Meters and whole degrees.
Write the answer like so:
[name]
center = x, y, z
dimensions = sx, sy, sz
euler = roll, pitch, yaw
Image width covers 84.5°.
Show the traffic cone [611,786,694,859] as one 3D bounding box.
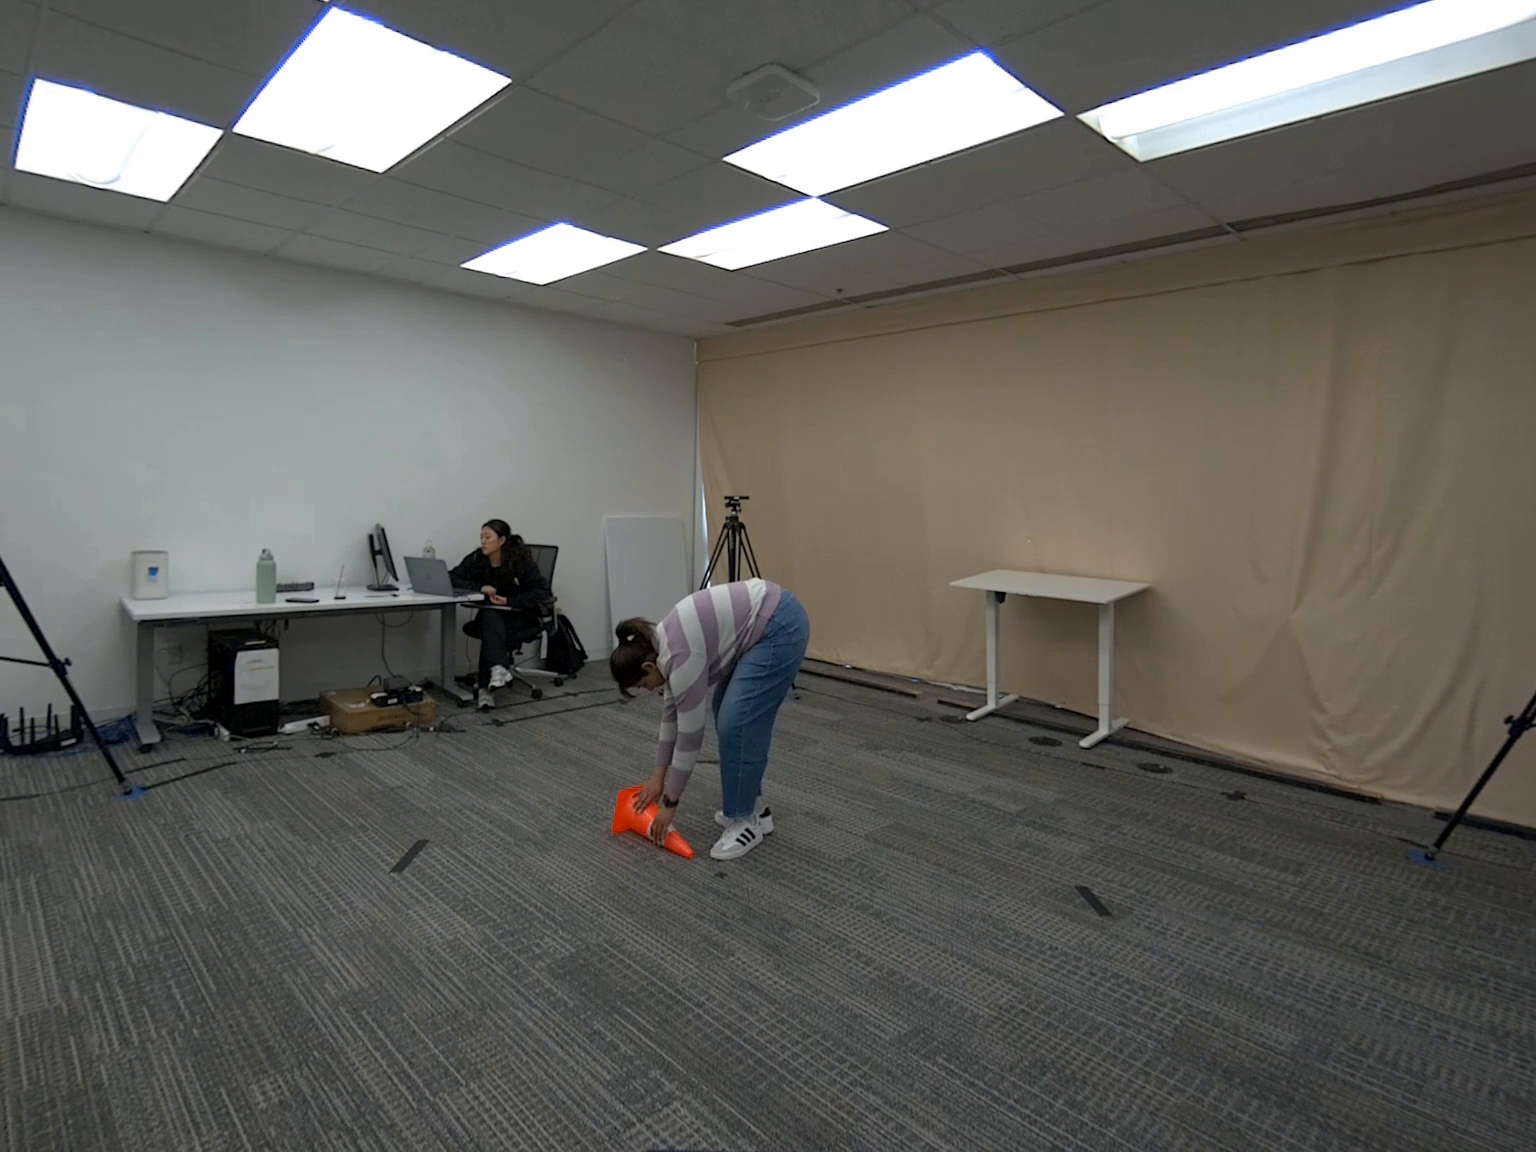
[traffic cone]
center = -0.431, 1.023, 3.377
dimensions = 0.200, 0.202, 0.395
euler = -2, 19, -43
